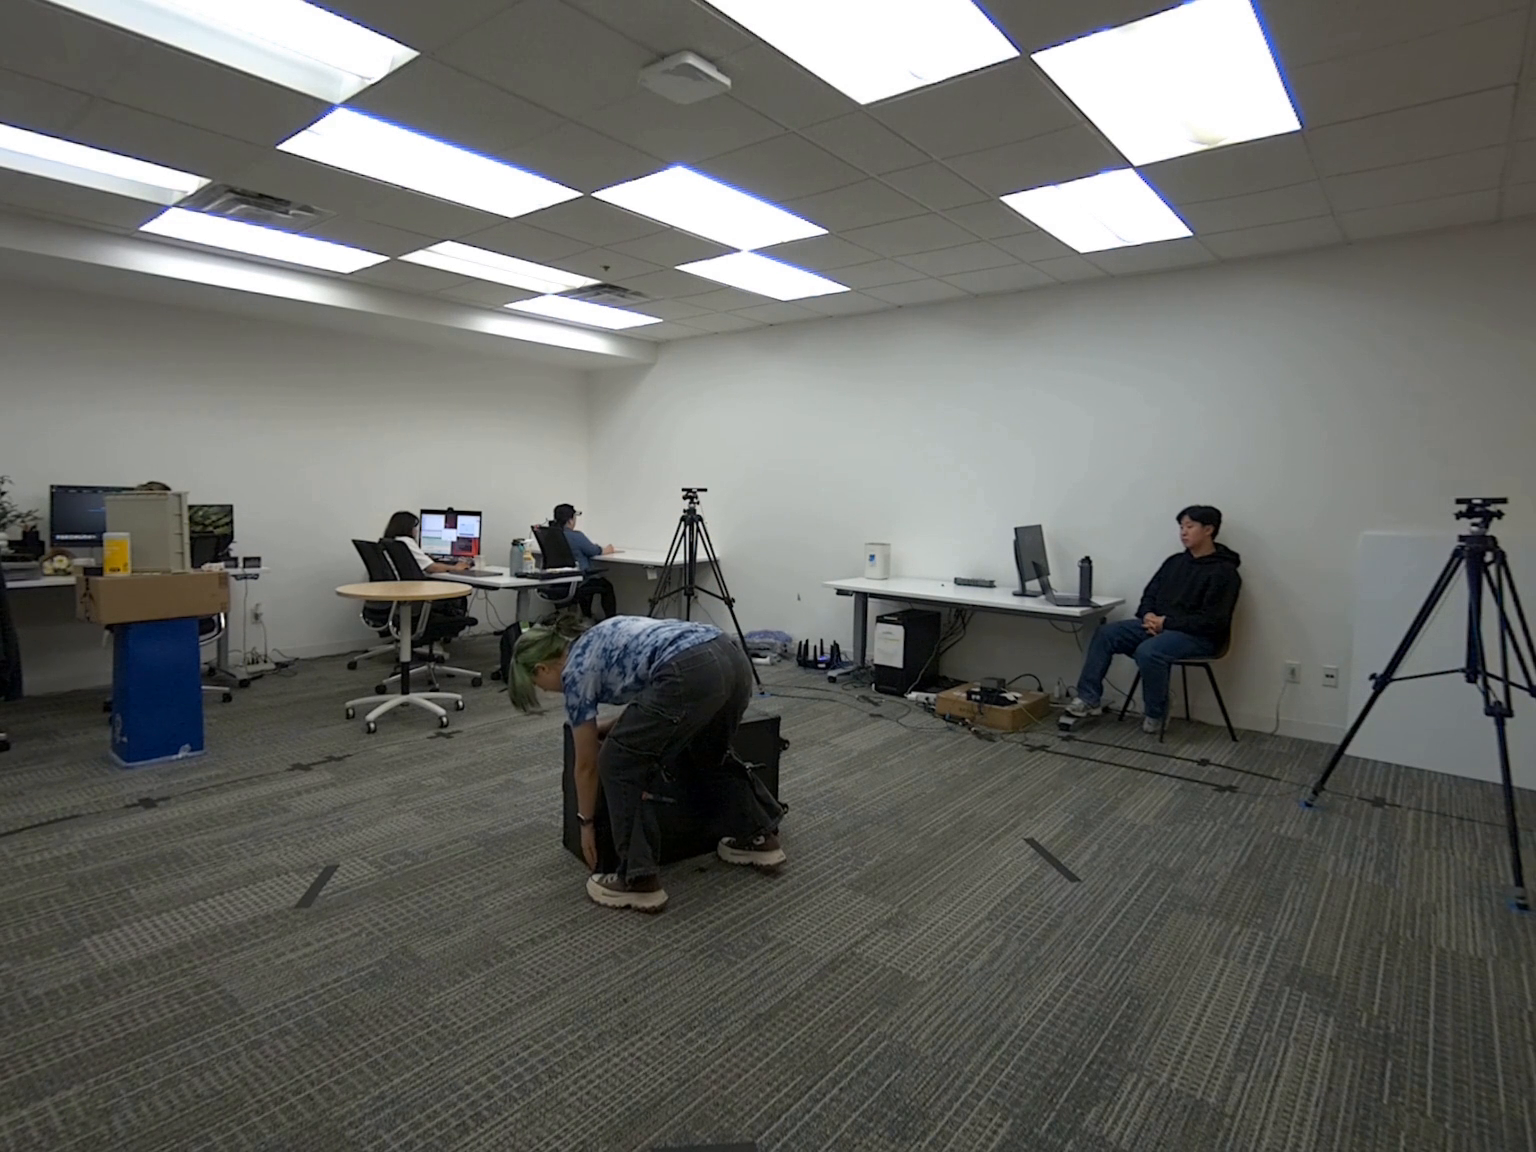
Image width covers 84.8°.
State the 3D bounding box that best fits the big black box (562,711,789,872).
[{"bbox_3d":[-0.362,0.793,3.376,0.837,0.520,0.409,-2,4,-33],"label":"big black box"}]
